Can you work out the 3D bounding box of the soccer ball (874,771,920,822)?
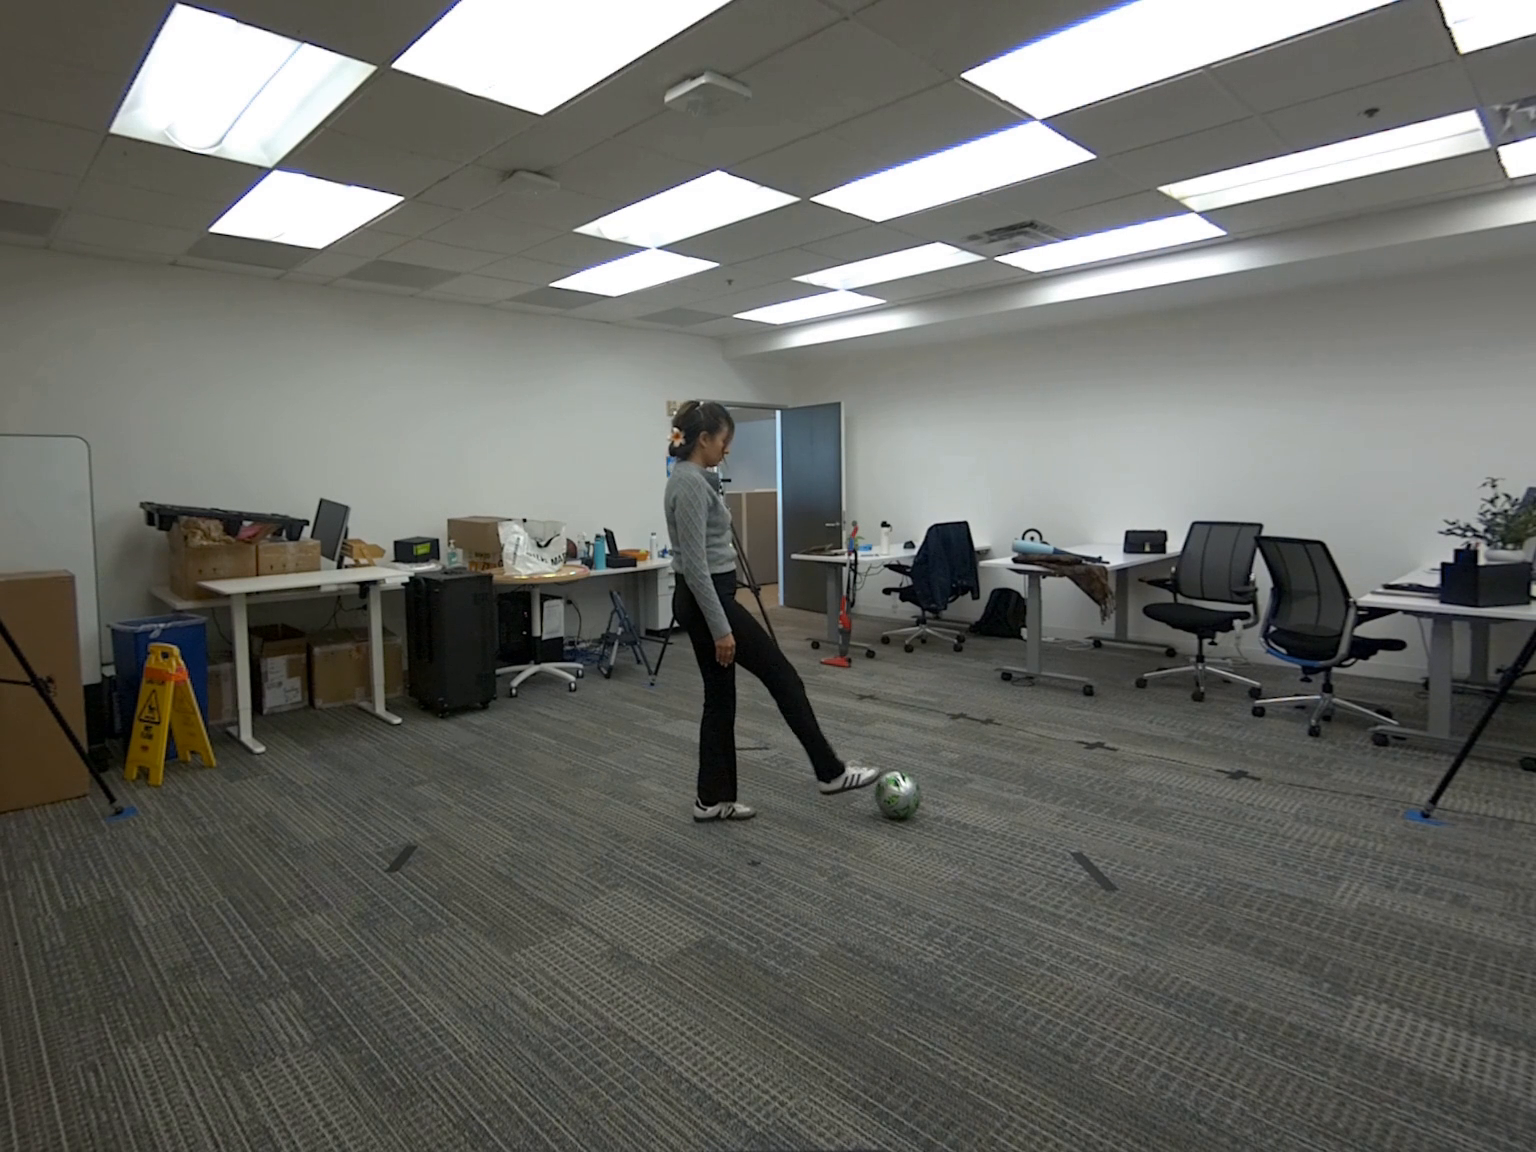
[{"bbox_3d":[0.528,0.895,3.500,0.187,0.187,0.188,-1,5,-2],"label":"soccer ball"}]
